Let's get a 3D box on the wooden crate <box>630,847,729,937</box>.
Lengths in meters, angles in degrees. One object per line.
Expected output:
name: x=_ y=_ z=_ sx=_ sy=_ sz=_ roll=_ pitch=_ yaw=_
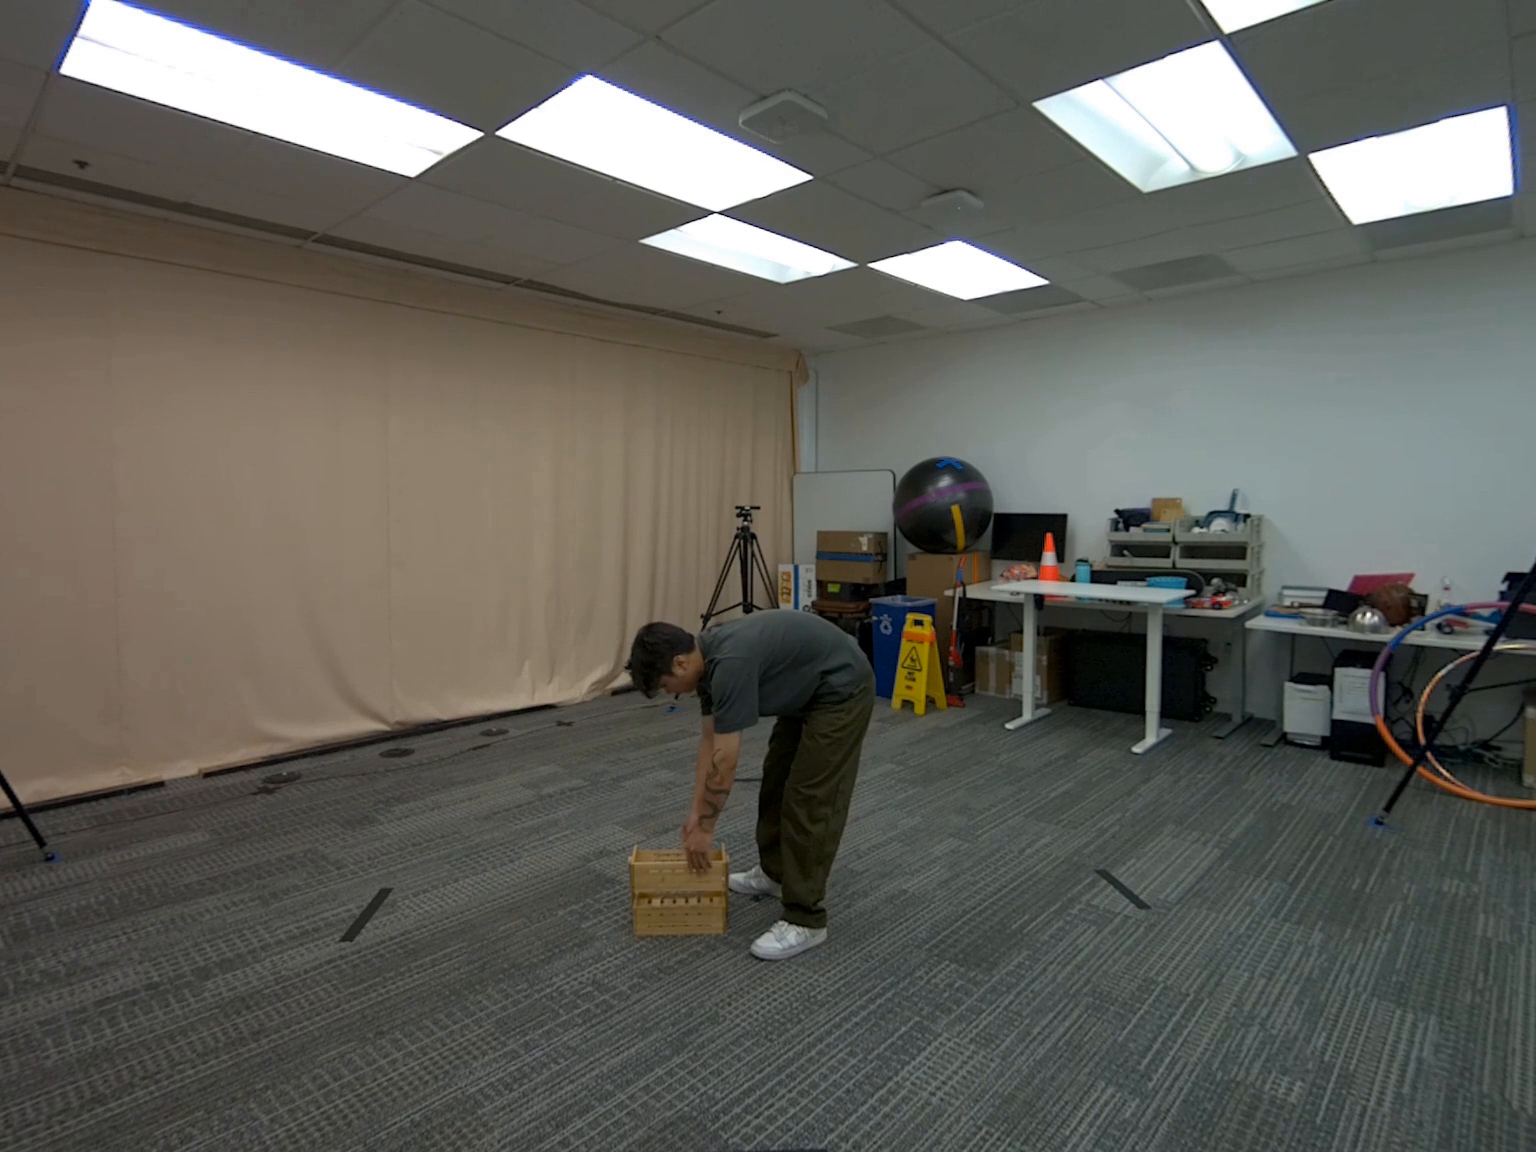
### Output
wooden crate: x=-0.298 y=1.024 z=2.834 sx=0.324 sy=0.272 sz=0.303 roll=-1 pitch=4 yaw=-2
